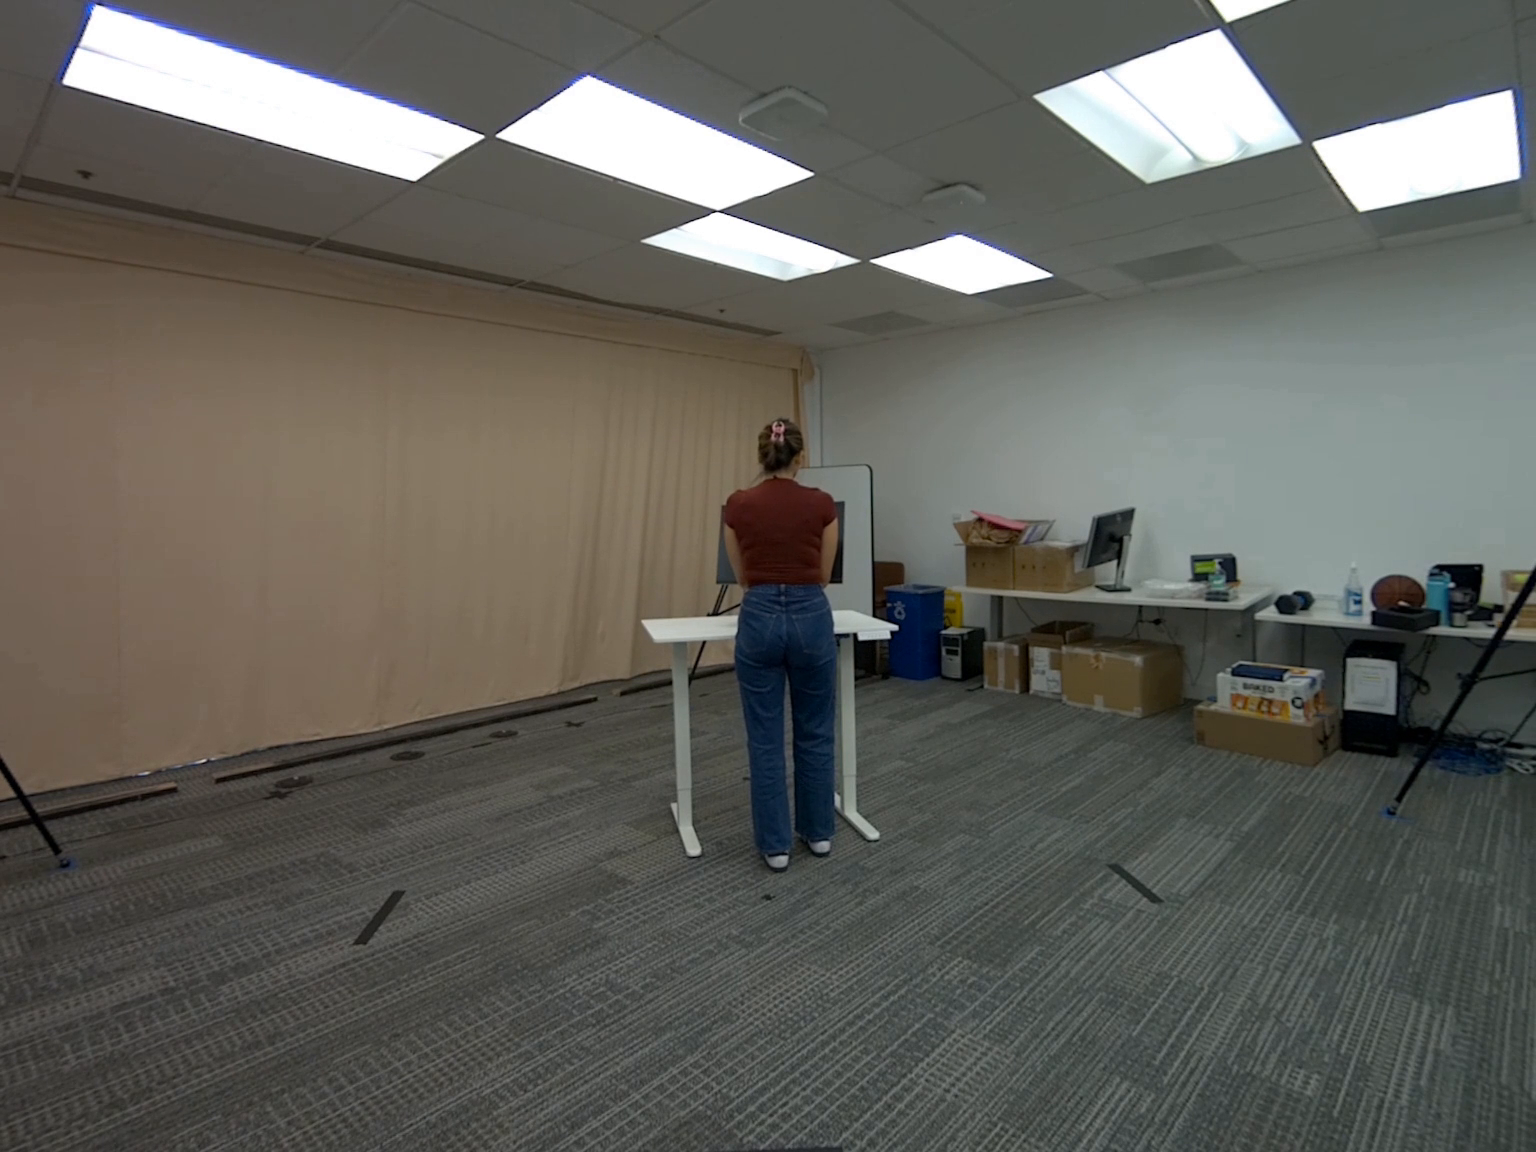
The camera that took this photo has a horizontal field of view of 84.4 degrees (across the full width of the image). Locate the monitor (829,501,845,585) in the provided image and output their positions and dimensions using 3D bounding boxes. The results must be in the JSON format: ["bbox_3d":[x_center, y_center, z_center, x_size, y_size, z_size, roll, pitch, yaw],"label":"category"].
[{"bbox_3d":[0.067,-0.046,3.557,0.548,0.522,0.184,0,0,15],"label":"monitor"}]
